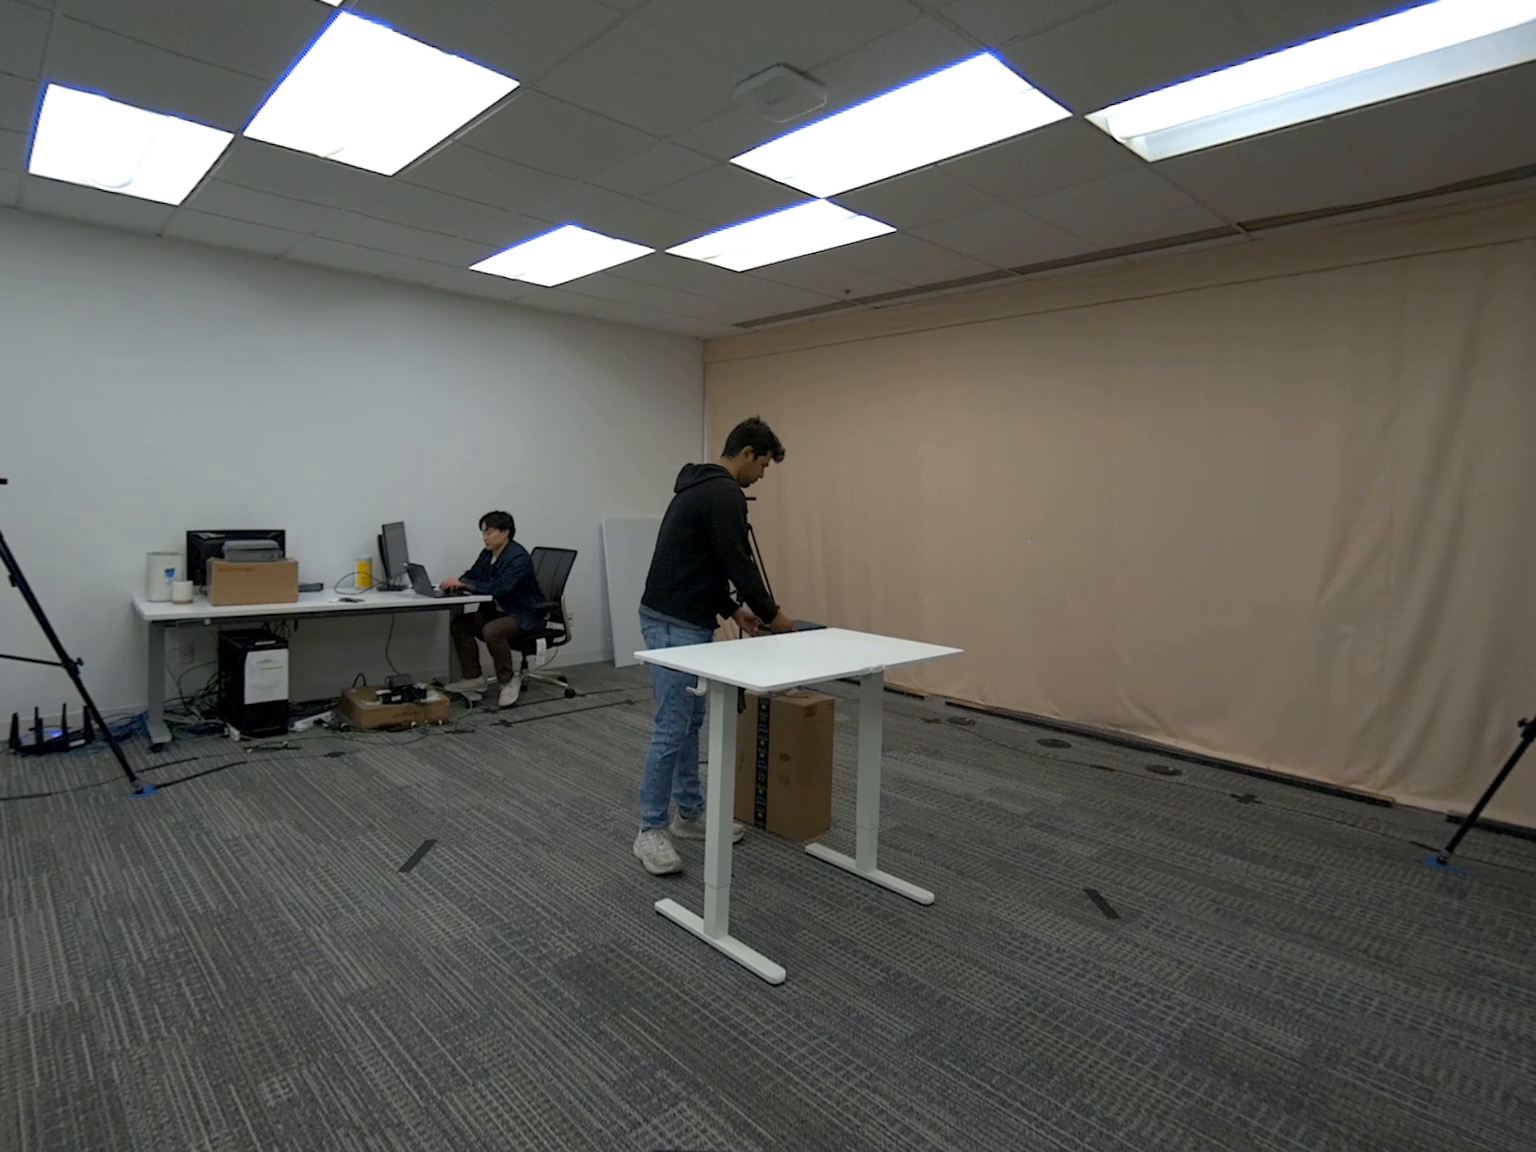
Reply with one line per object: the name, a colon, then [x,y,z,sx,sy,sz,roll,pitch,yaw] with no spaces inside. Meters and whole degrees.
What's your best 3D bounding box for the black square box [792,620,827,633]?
black square box: [0.097,0.281,3.606,0.213,0.155,0.233,-5,7,-28]
